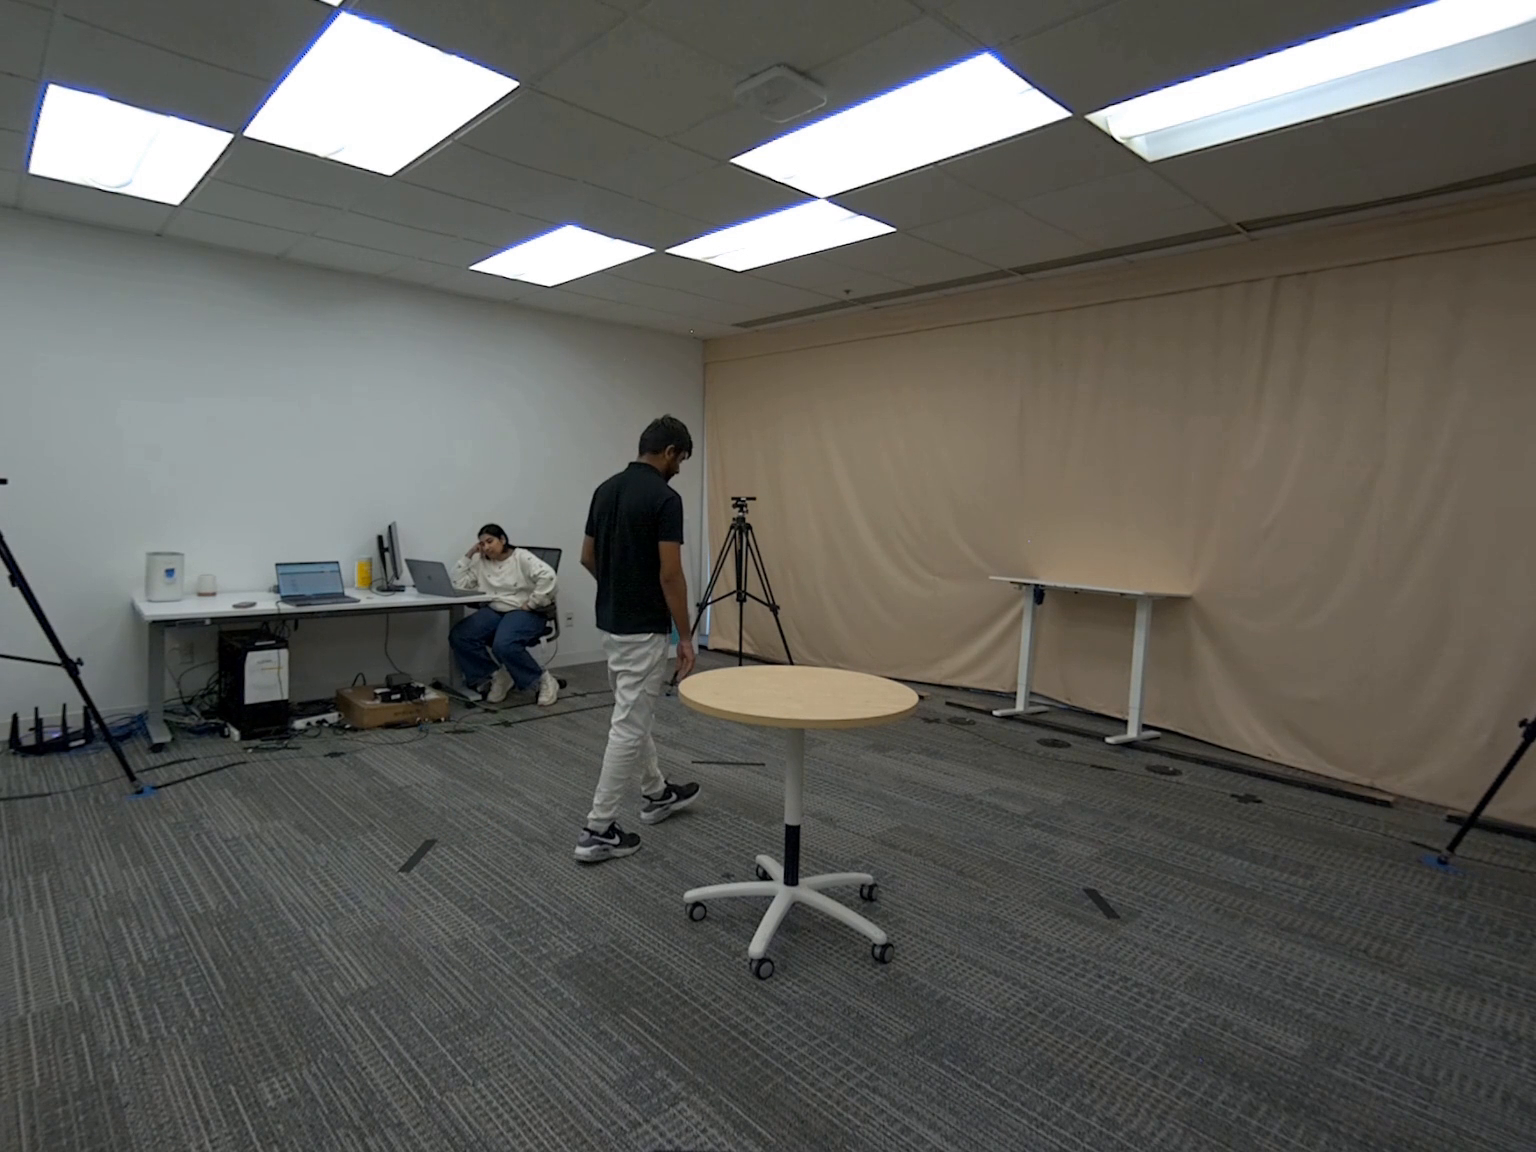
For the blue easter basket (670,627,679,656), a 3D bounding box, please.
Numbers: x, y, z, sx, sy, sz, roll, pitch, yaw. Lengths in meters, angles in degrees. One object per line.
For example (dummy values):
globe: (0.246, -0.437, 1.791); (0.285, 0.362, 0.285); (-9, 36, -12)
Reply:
blue easter basket: (-0.466, 0.223, 3.727); (0.243, 0.156, 0.243); (4, -2, -1)
